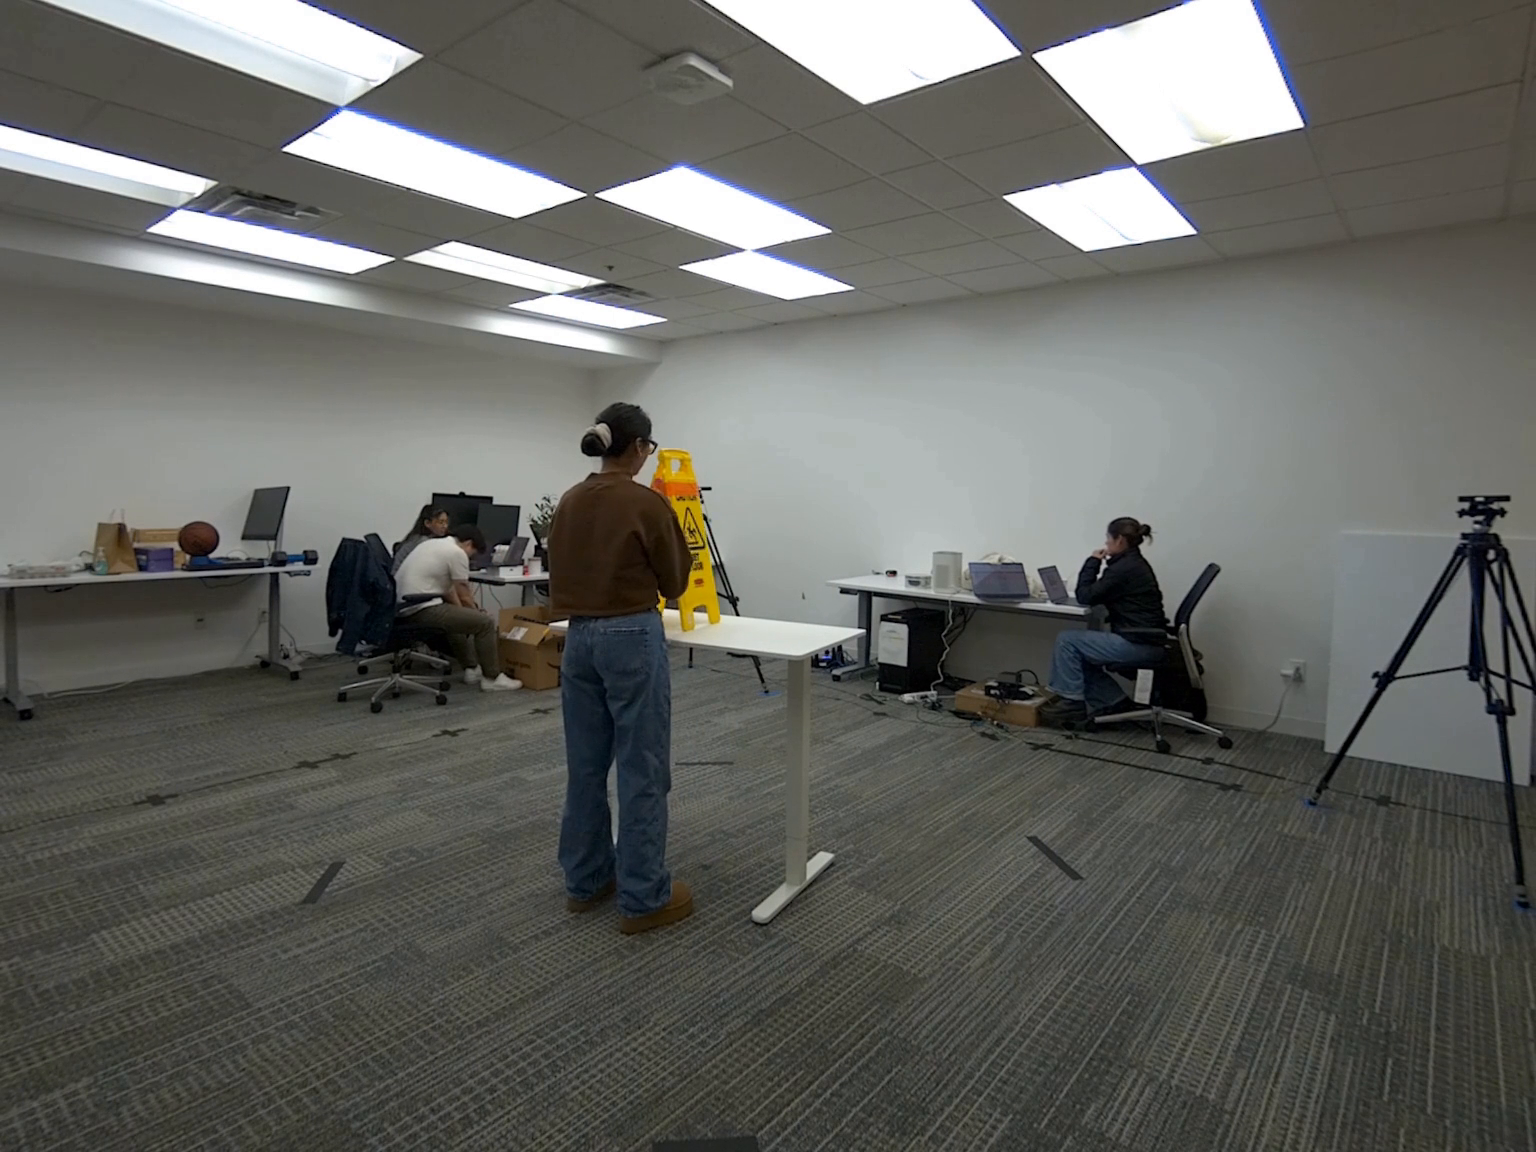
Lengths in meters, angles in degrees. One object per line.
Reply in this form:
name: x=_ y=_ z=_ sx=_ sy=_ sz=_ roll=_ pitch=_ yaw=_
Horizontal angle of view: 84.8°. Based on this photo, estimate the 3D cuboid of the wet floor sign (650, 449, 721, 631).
wet floor sign: x=-0.364 y=-0.148 z=3.172 sx=0.297 sy=0.645 sz=0.275 roll=2 pitch=3 yaw=26
